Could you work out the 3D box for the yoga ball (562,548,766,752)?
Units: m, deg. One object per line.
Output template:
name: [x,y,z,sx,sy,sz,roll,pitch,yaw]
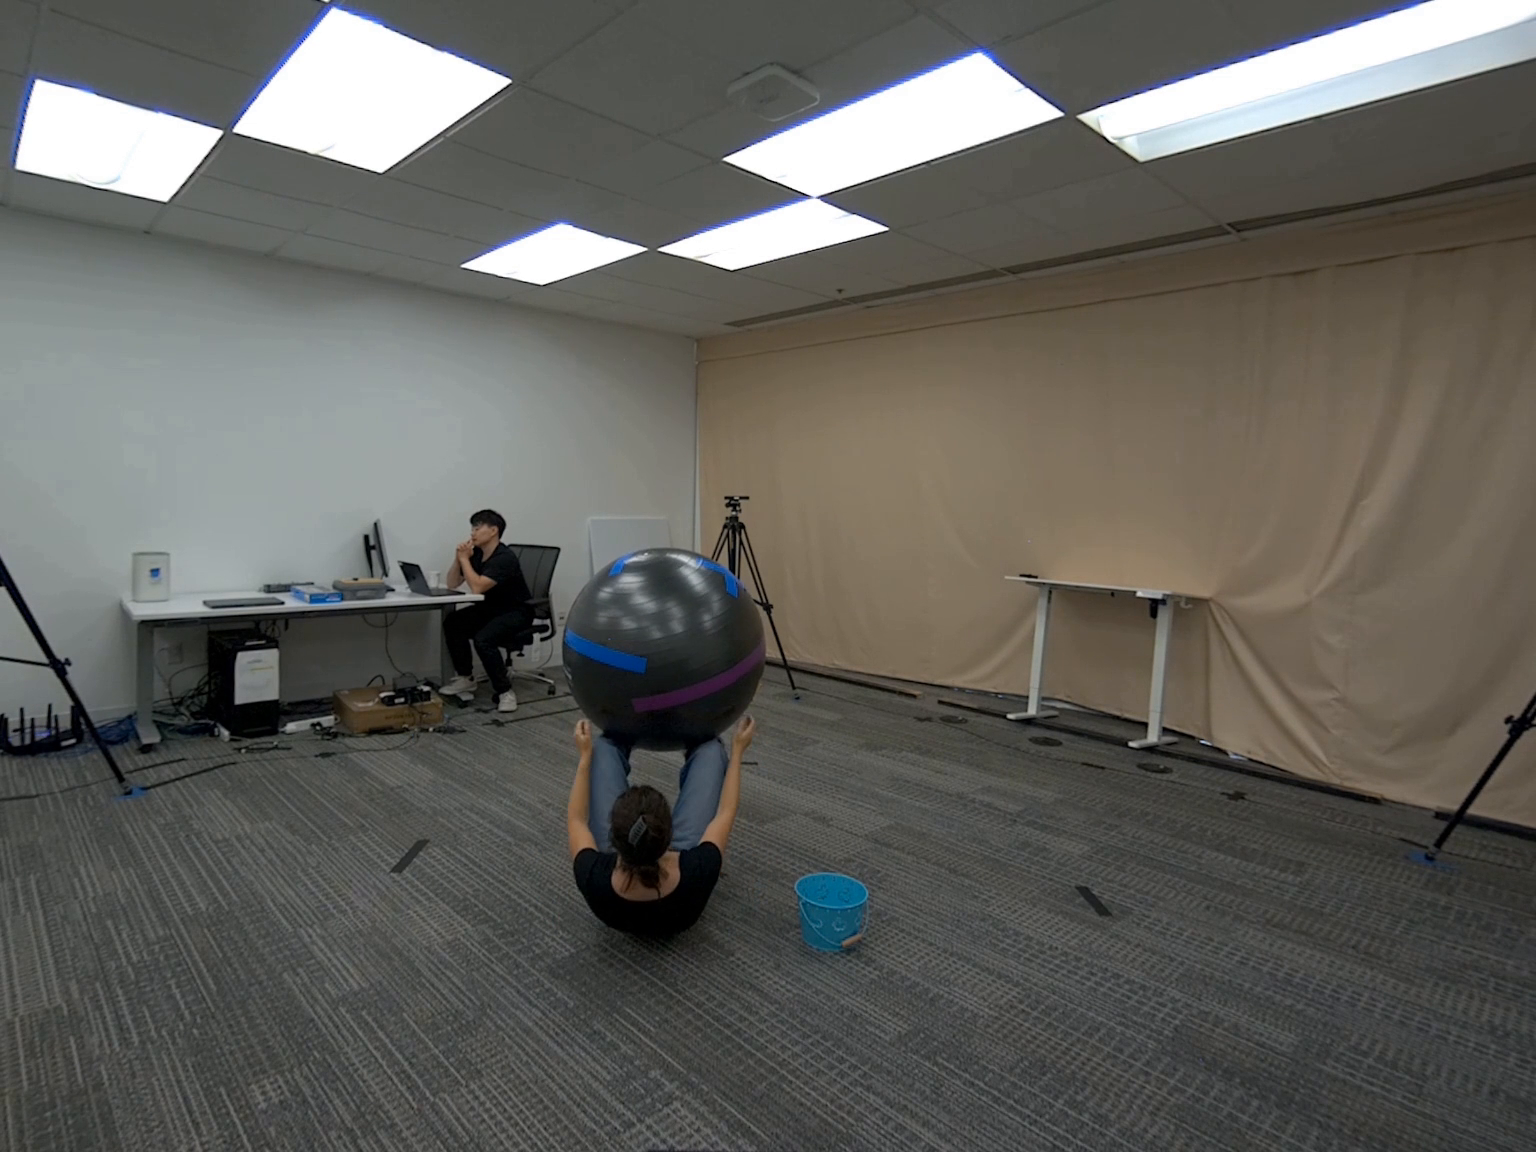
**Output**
yoga ball: [-0.402,0.281,3.158,0.757,0.756,0.761,1,4,-1]
